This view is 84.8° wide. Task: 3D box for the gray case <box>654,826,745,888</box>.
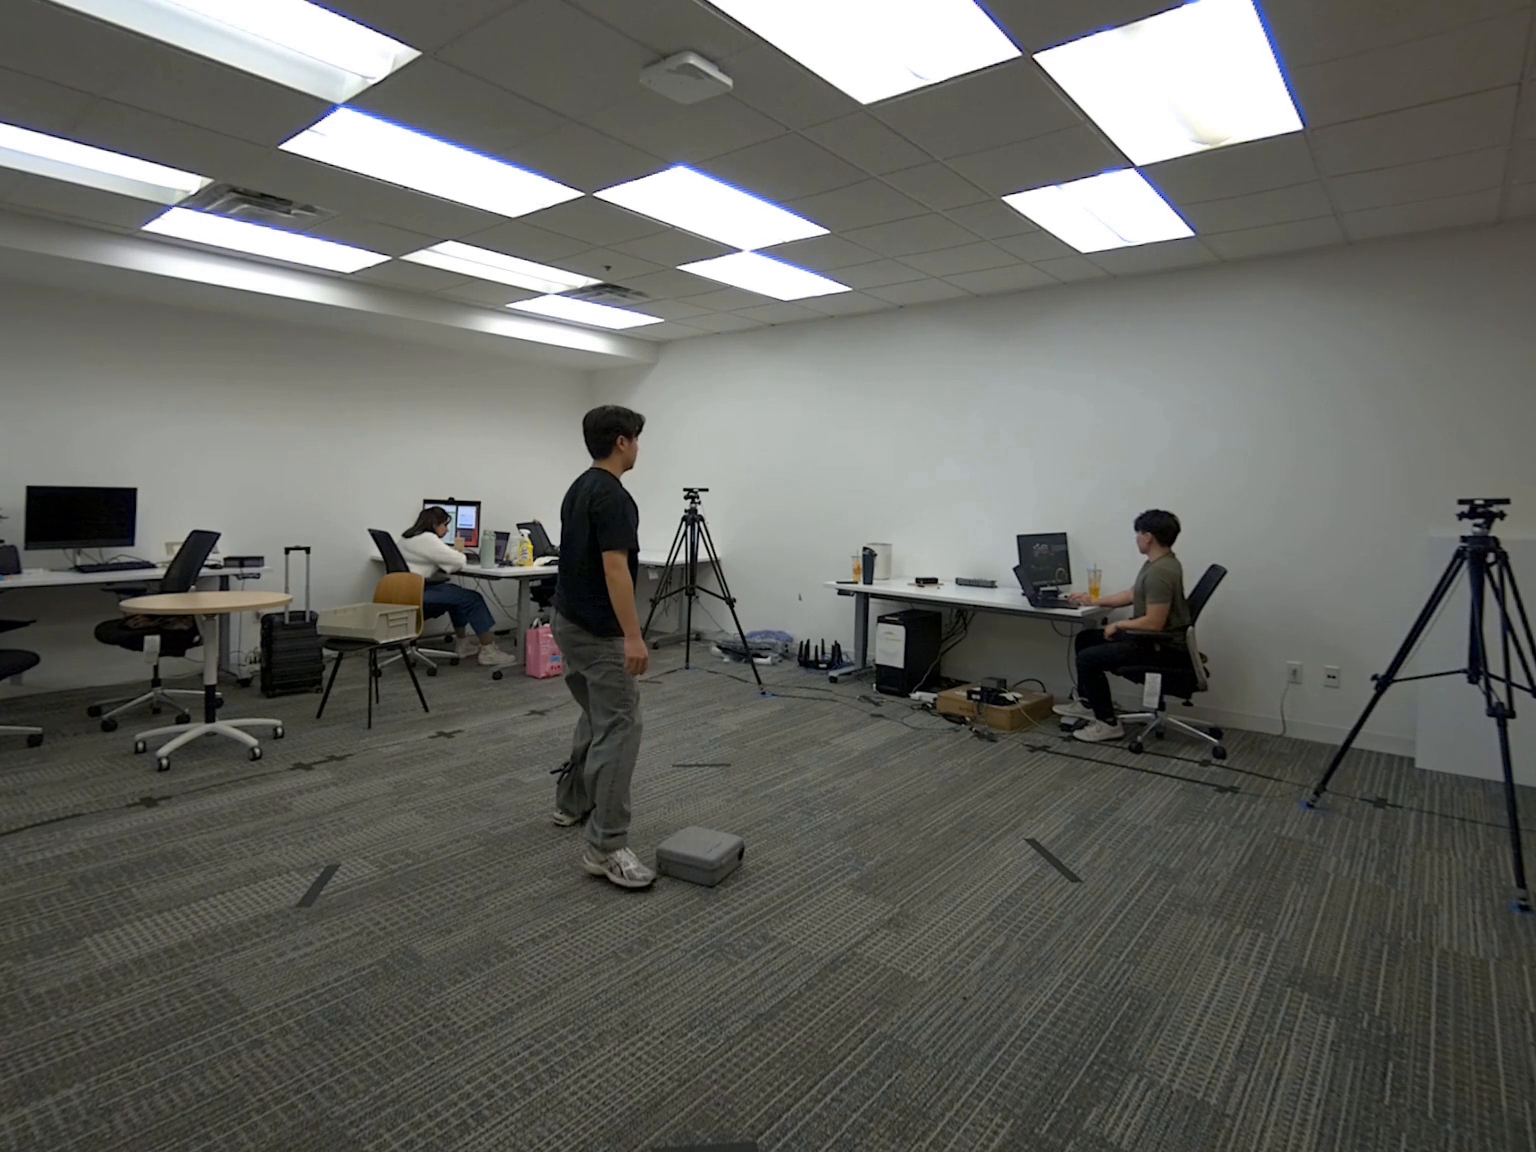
[{"bbox_3d":[-0.267,1.014,3.114,0.295,0.103,0.257,3,5,29],"label":"gray case"}]
